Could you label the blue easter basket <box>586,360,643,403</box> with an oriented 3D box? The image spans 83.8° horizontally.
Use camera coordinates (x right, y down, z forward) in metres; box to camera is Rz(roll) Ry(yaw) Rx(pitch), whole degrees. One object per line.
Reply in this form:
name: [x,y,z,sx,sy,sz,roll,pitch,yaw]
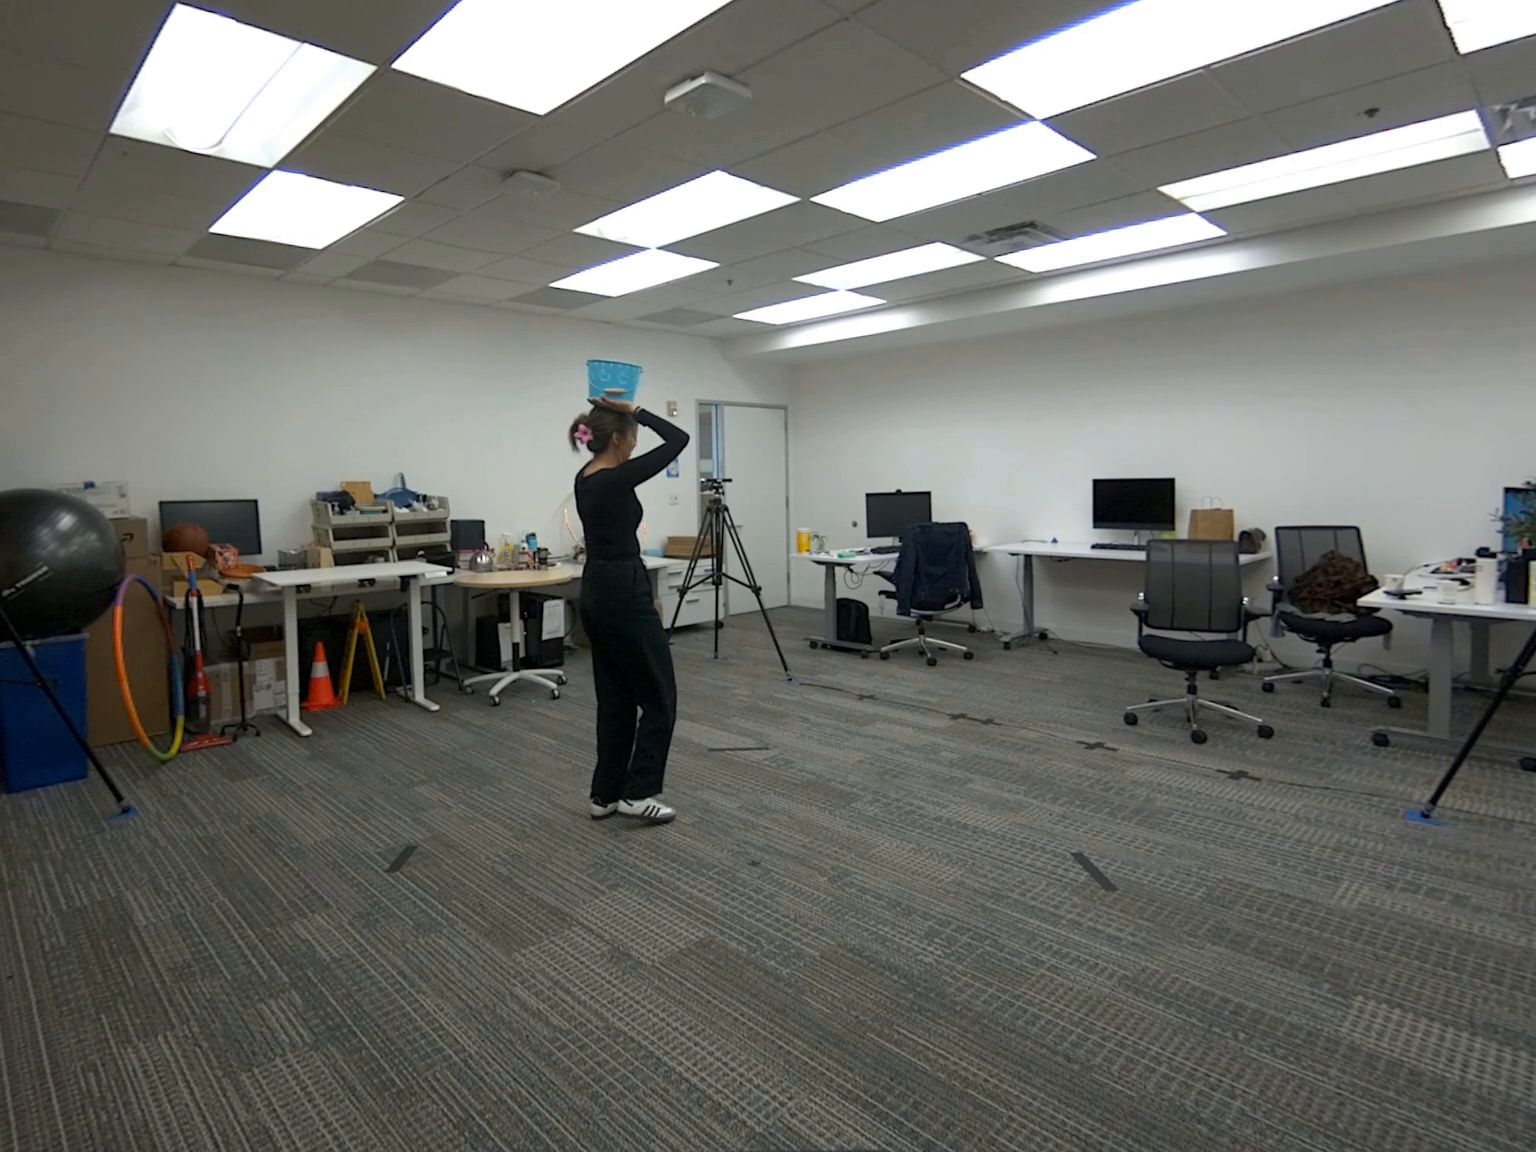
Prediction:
blue easter basket: [-0.637,-0.785,3.468,0.243,0.155,0.245,6,4,-2]
